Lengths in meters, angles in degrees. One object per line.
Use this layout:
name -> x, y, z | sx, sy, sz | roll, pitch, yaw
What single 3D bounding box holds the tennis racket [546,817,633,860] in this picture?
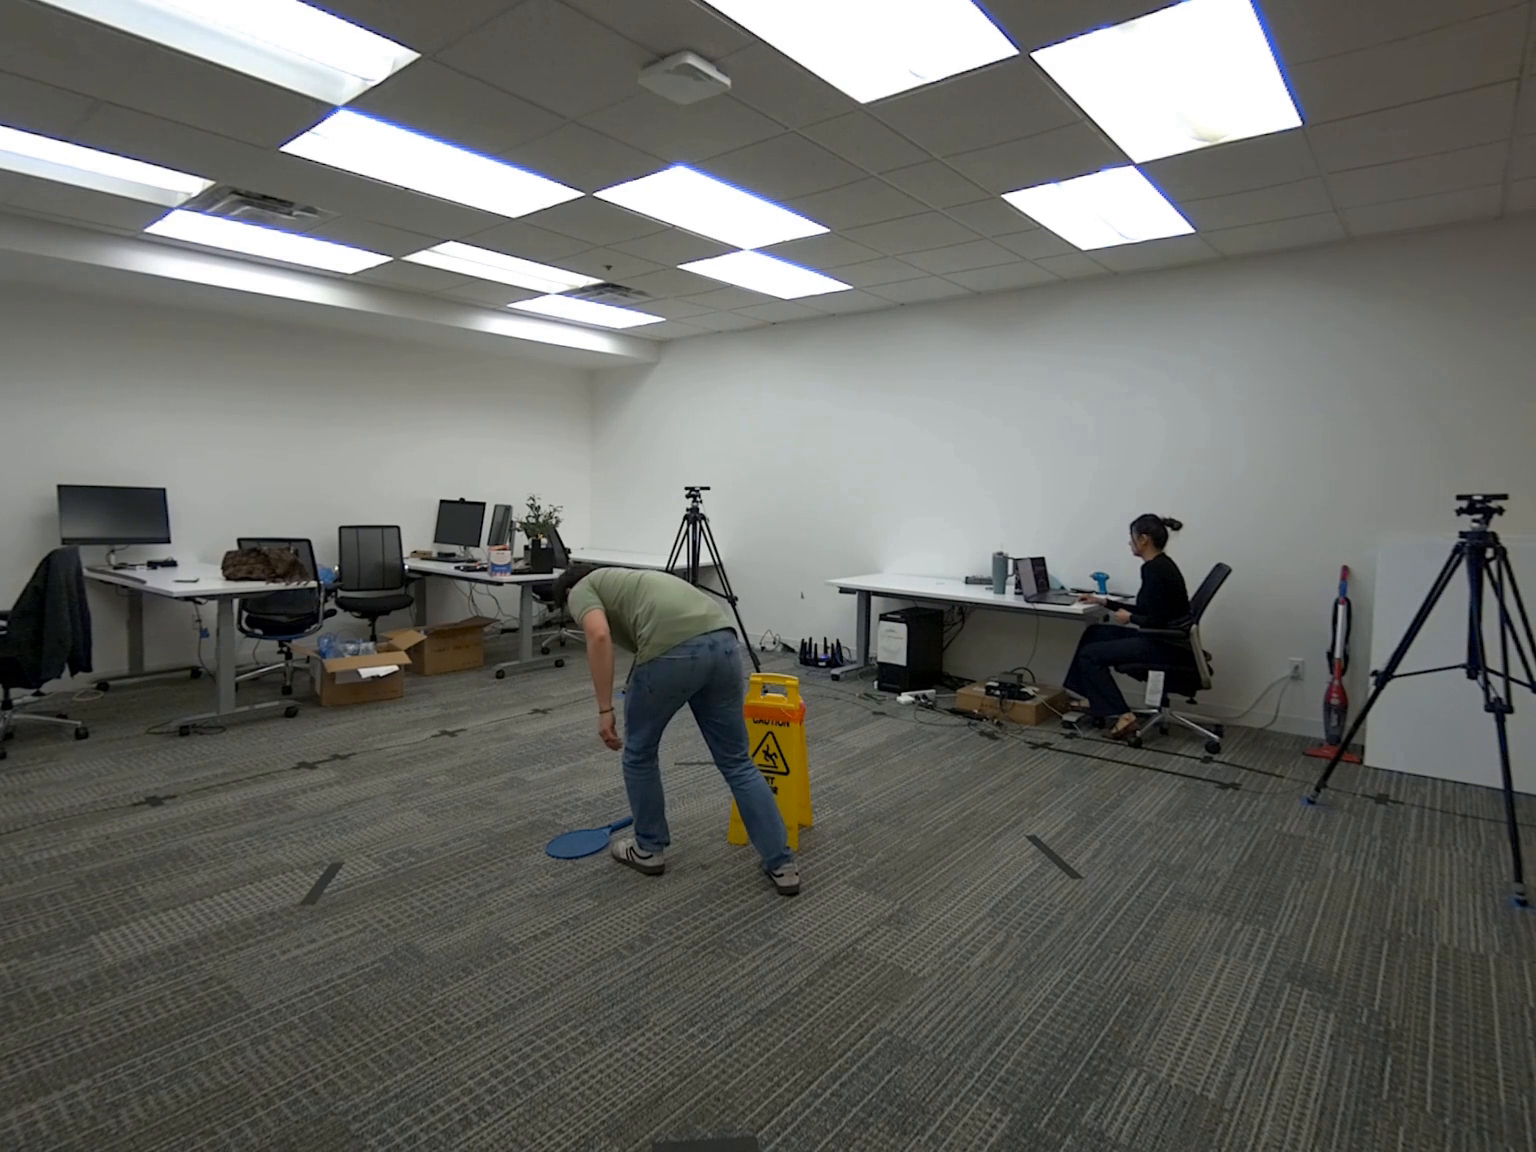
tennis racket -> -0.704, 1.026, 3.340 | 0.221, 0.031, 0.421 | 5, 9, 39
